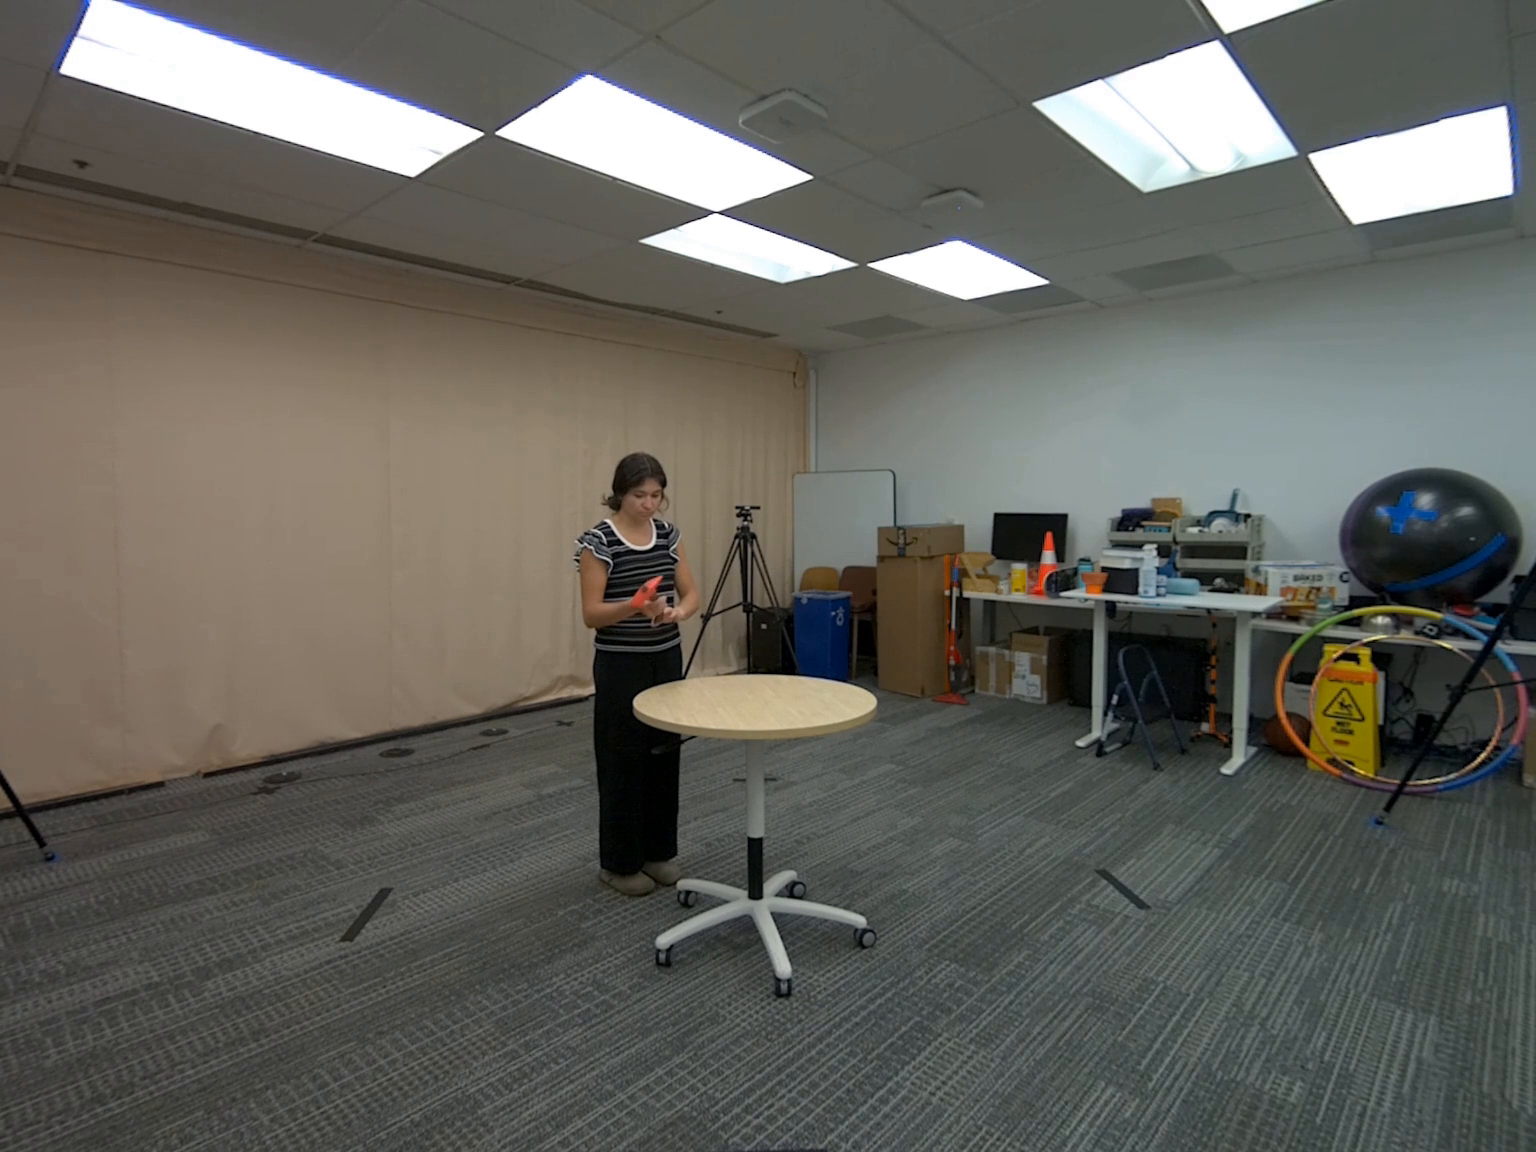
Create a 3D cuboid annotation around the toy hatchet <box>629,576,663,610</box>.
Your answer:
[{"bbox_3d":[-0.393,0.099,2.745,0.130,0.030,0.266,-38,-21,-24],"label":"toy hatchet"}]
